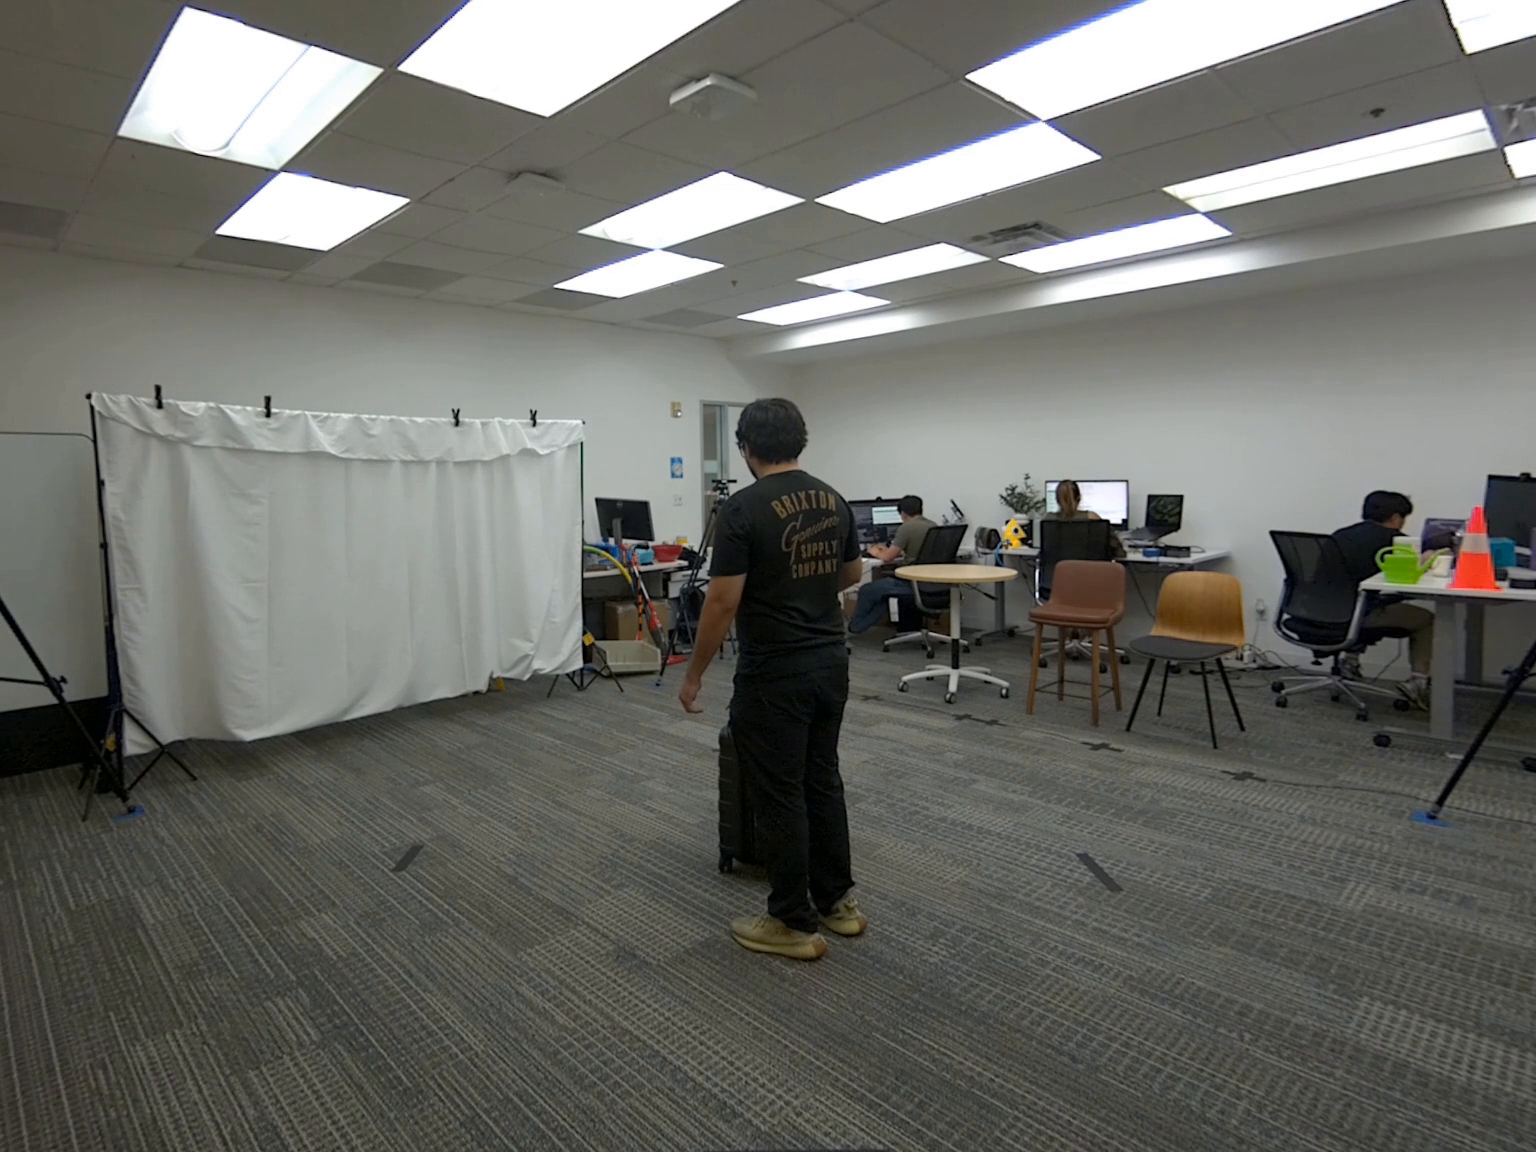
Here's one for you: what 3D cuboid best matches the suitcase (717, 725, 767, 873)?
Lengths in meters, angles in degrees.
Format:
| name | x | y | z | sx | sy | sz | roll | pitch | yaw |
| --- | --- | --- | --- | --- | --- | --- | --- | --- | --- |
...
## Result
| name | x | y | z | sx | sy | sz | roll | pitch | yaw |
| --- | --- | --- | --- | --- | --- | --- | --- | --- | --- |
| suitcase | -0.013 | 0.569 | 3.100 | 0.263 | 0.976 | 0.376 | -2 | 3 | 25 |
